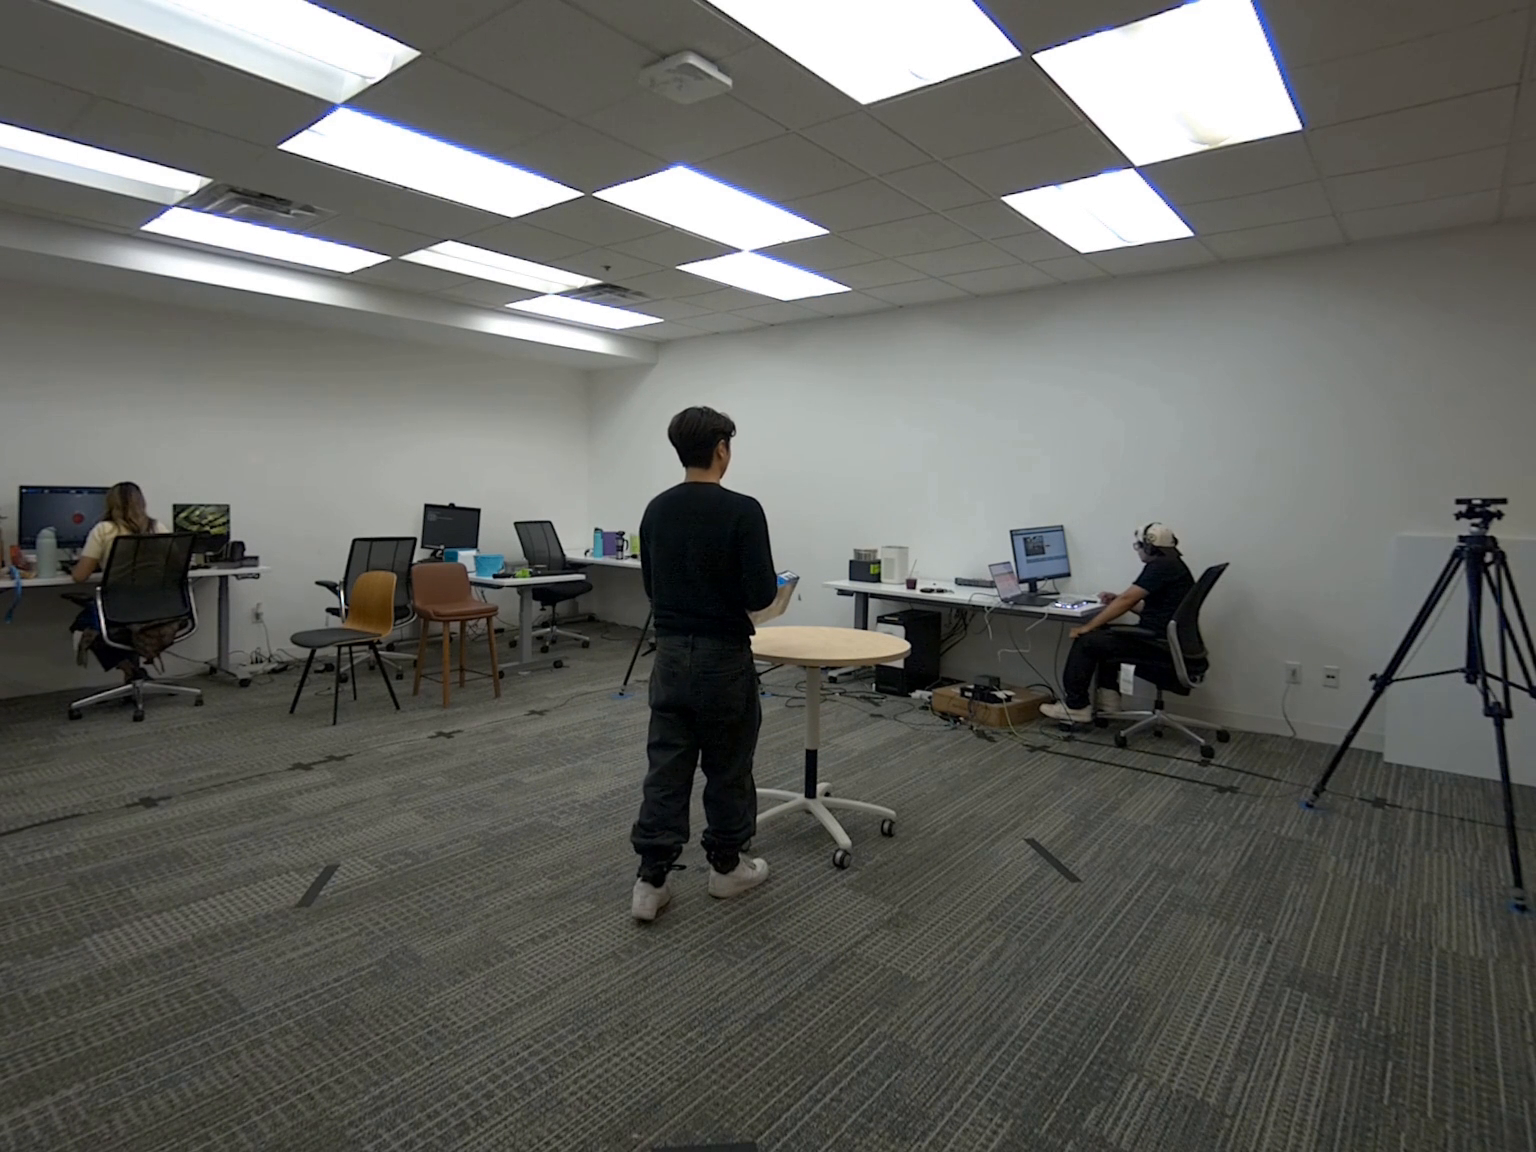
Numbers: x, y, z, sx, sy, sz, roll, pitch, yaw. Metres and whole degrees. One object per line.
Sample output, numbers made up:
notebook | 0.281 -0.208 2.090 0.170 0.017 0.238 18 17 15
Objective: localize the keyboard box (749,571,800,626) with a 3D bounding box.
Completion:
keyboard box | -0.041 0.103 3.222 0.061 0.174 0.428 29 24 22
